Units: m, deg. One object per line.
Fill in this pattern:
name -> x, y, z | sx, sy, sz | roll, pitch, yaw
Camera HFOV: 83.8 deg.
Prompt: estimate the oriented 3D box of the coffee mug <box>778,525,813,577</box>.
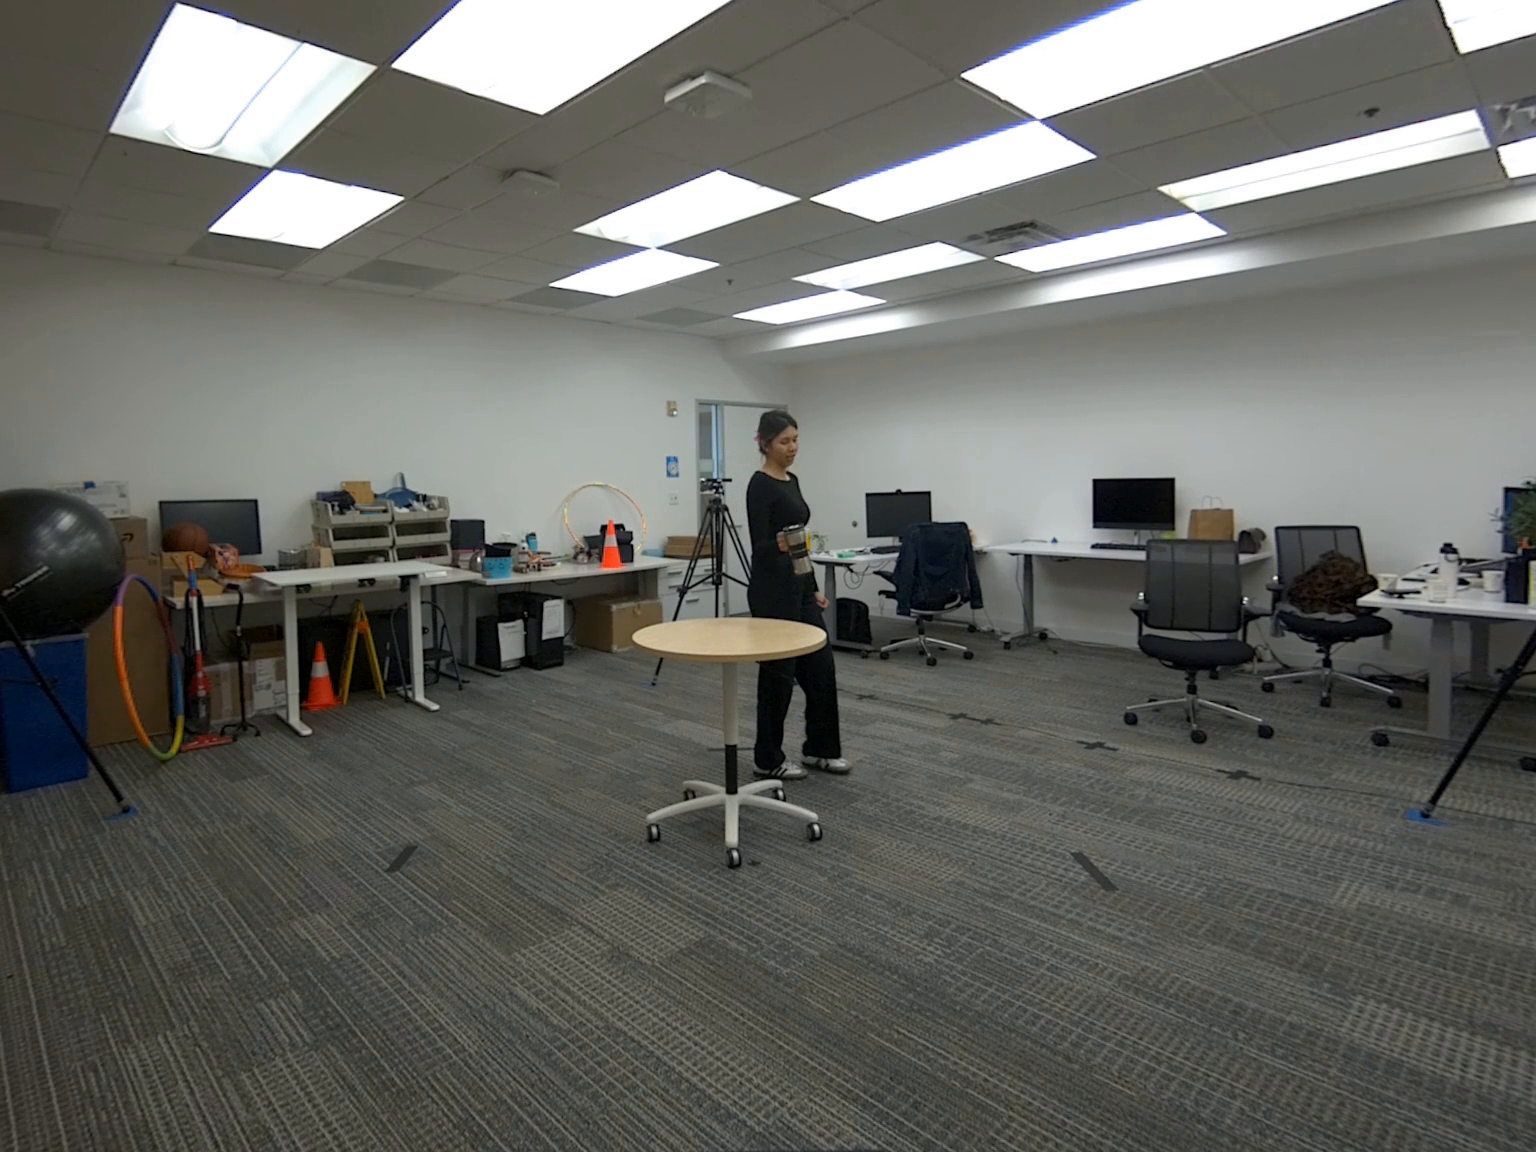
coffee mug -> 0.124, -0.101, 3.455 | 0.090, 0.202, 0.120 | -8, 8, 45
